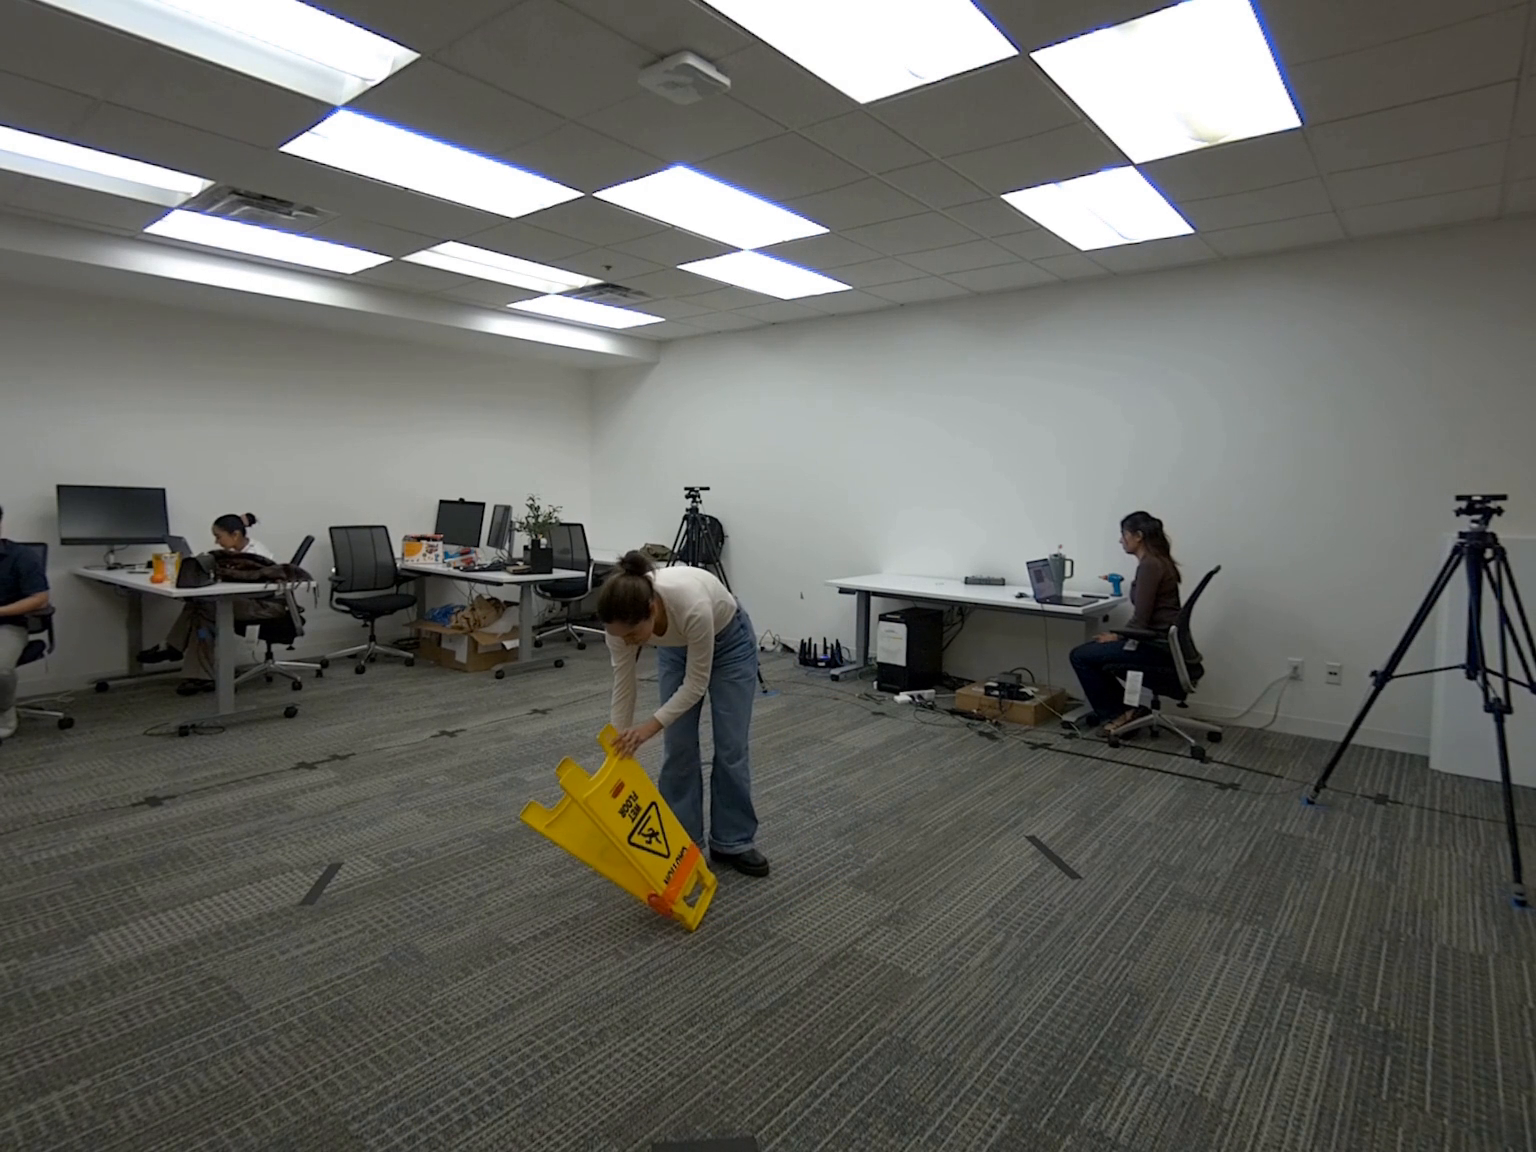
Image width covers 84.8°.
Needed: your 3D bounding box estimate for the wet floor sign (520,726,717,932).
[{"bbox_3d":[-0.430,0.838,2.717,0.290,0.644,0.282,-44,3,38],"label":"wet floor sign"}]
